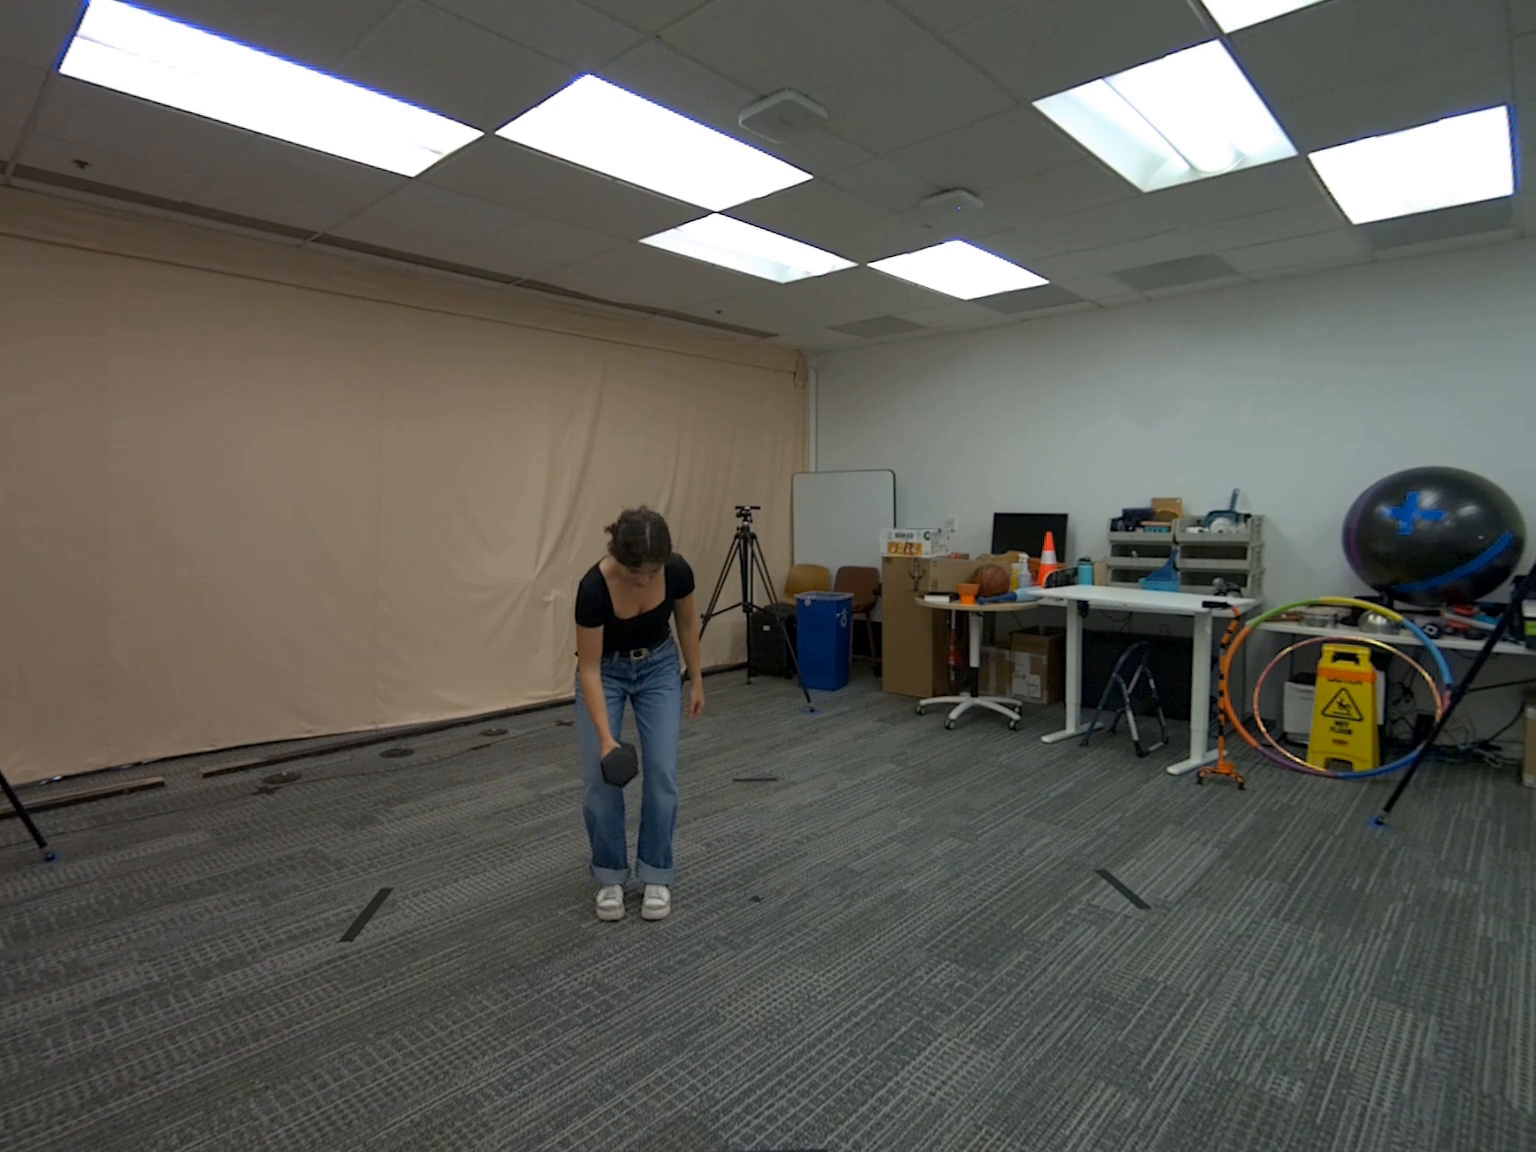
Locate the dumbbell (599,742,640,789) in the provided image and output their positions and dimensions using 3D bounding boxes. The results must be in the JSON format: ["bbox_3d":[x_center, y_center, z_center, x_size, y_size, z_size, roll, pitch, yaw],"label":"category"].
[{"bbox_3d":[-0.474,0.587,2.683,0.108,0.123,0.294,-12,-5,-10],"label":"dumbbell"}]
